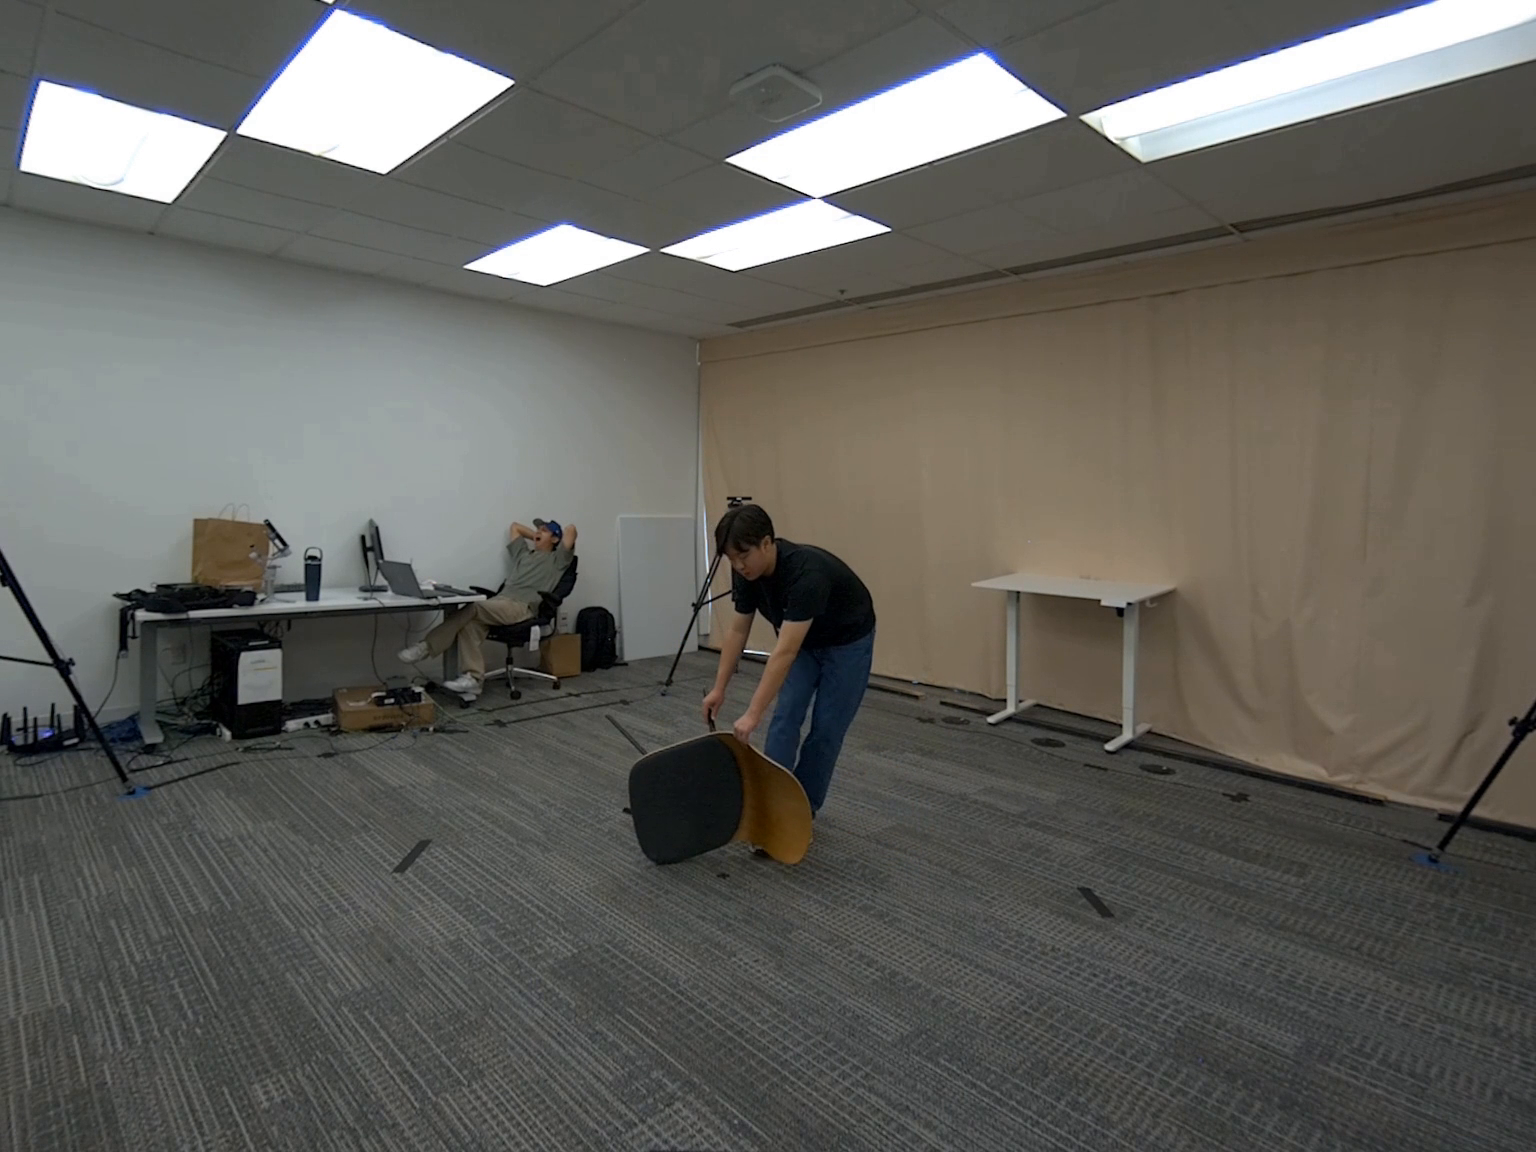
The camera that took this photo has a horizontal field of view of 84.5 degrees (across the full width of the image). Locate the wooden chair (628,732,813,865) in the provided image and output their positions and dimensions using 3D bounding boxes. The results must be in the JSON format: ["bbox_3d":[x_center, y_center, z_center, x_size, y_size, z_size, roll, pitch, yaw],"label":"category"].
[{"bbox_3d":[-0.286,0.835,3.243,0.516,0.472,0.899,-14,16,-24],"label":"wooden chair"}]
